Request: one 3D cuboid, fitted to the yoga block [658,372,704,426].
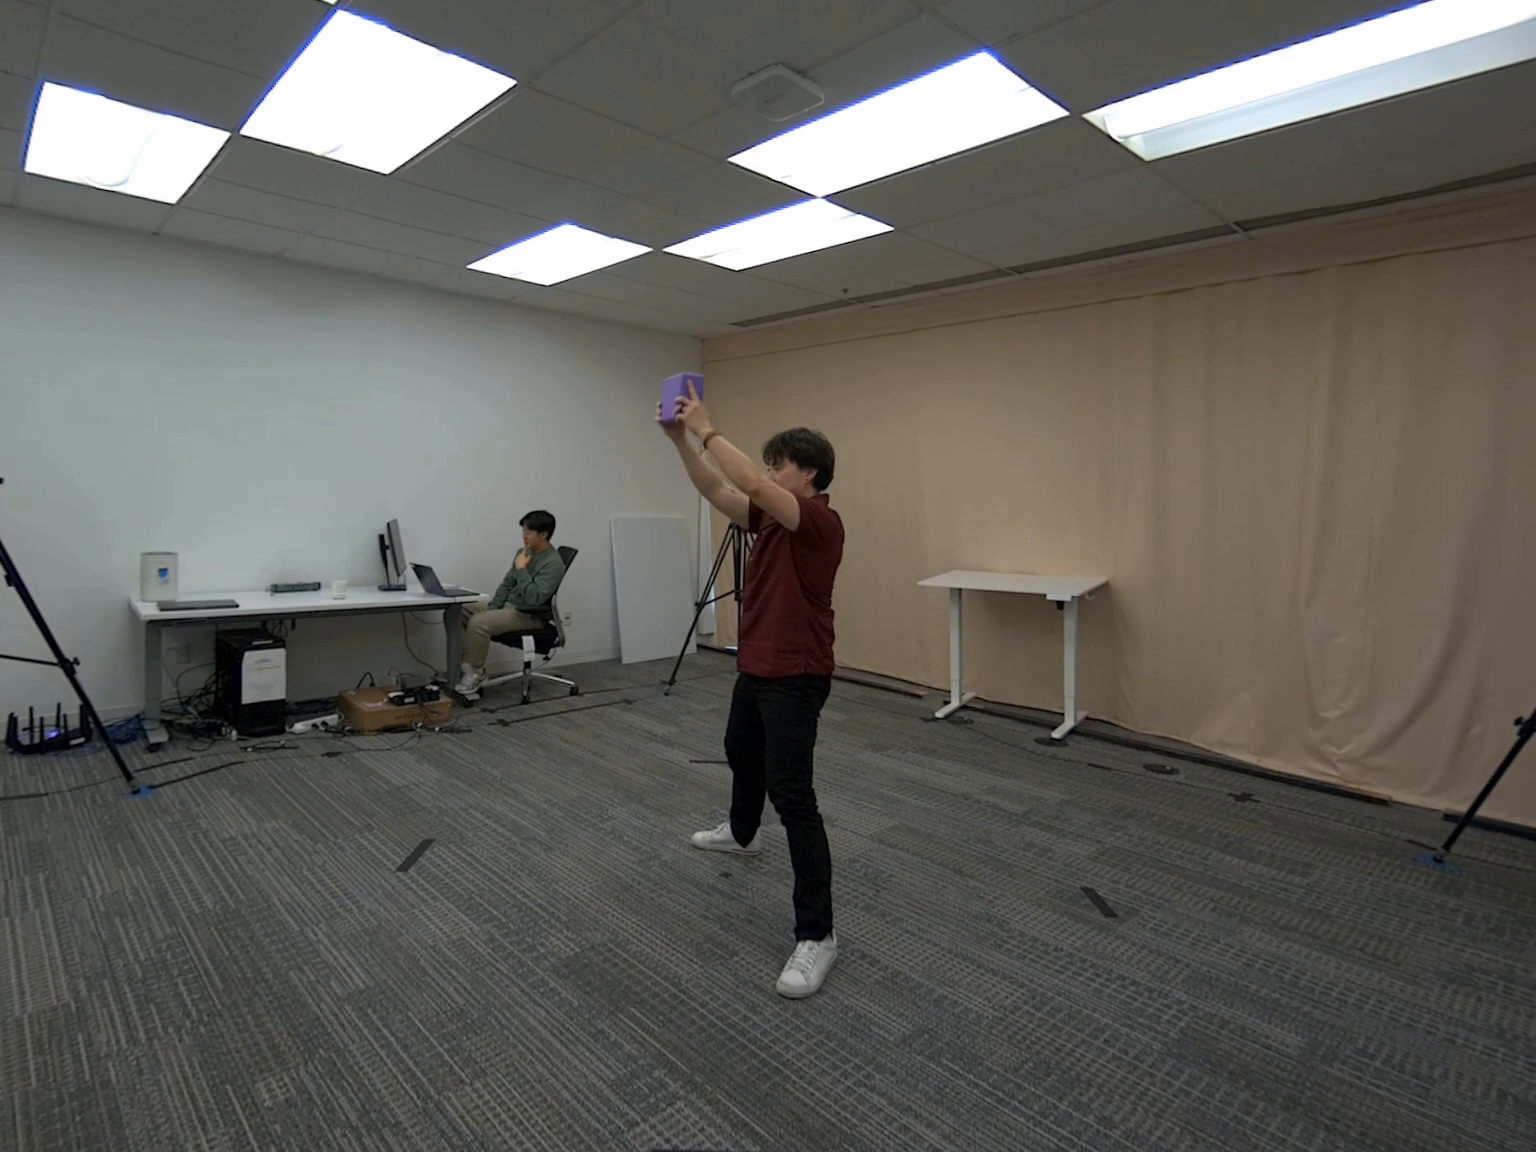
[{"bbox_3d":[-0.288,-0.564,2.732,0.075,0.148,0.233,4,5,-20],"label":"yoga block"}]
